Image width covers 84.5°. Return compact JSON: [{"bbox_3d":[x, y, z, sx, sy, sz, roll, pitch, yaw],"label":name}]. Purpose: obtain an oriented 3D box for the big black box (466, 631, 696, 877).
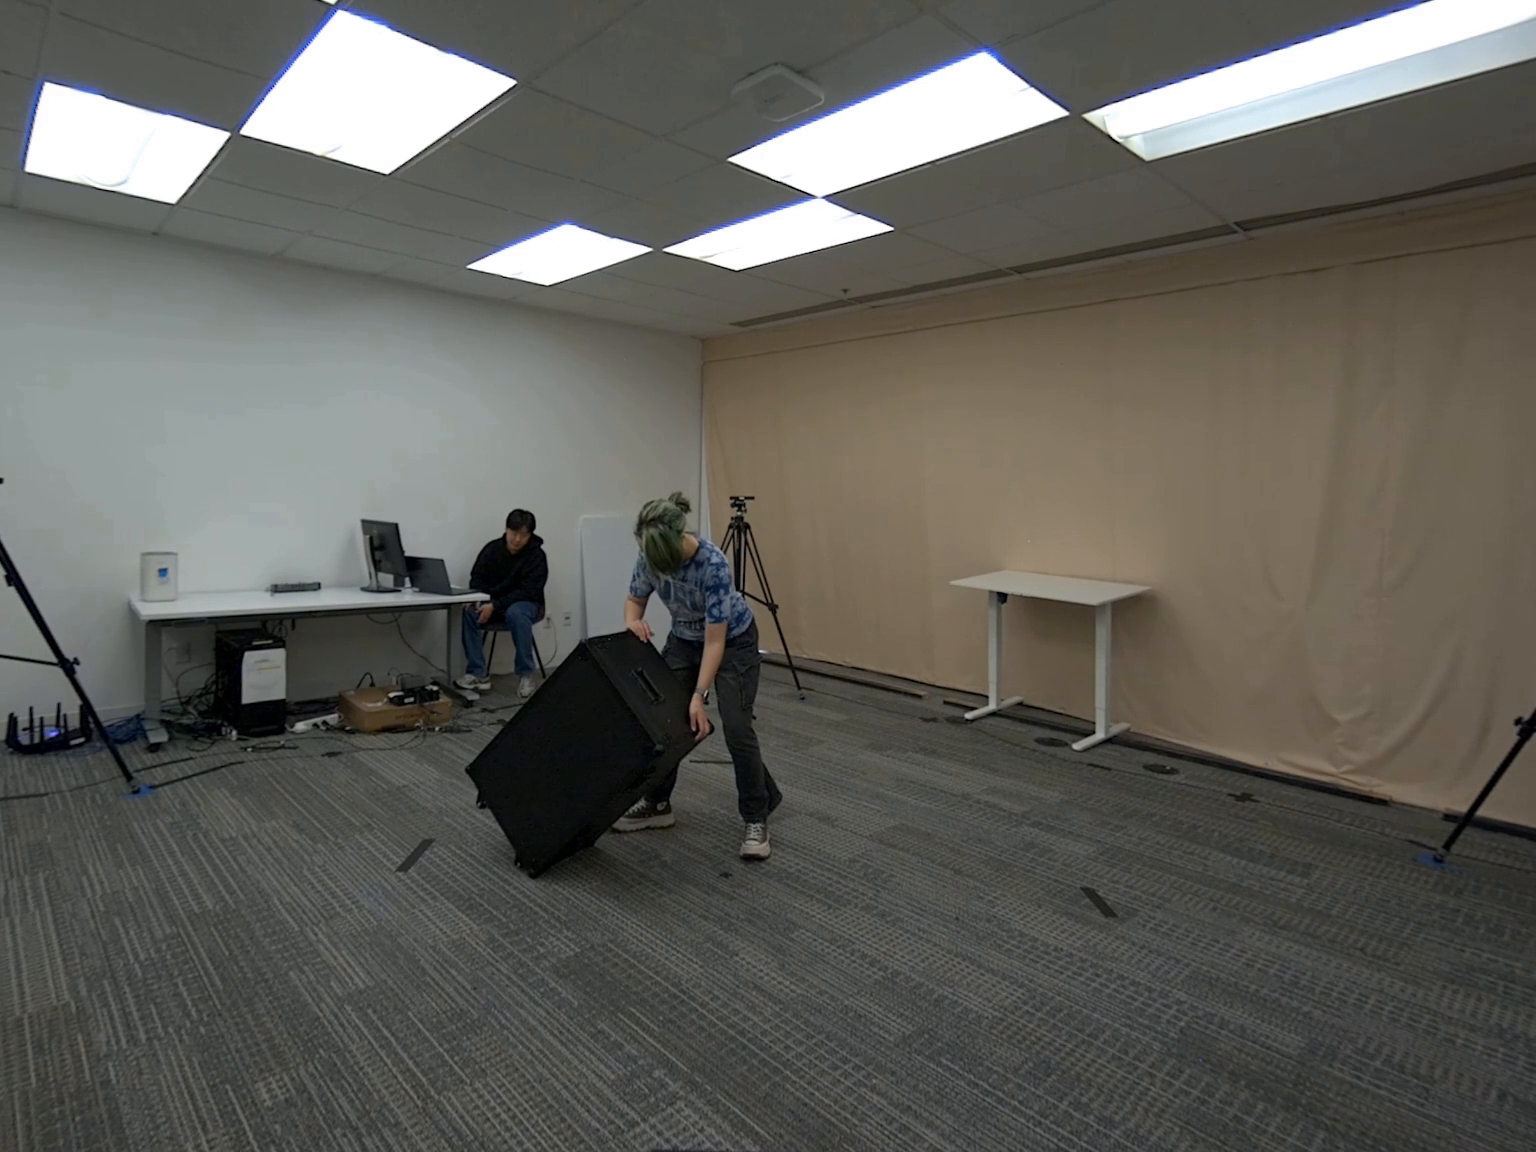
[{"bbox_3d":[-0.701,0.666,3.139,0.861,0.531,0.389,-46,-18,22],"label":"big black box"}]
